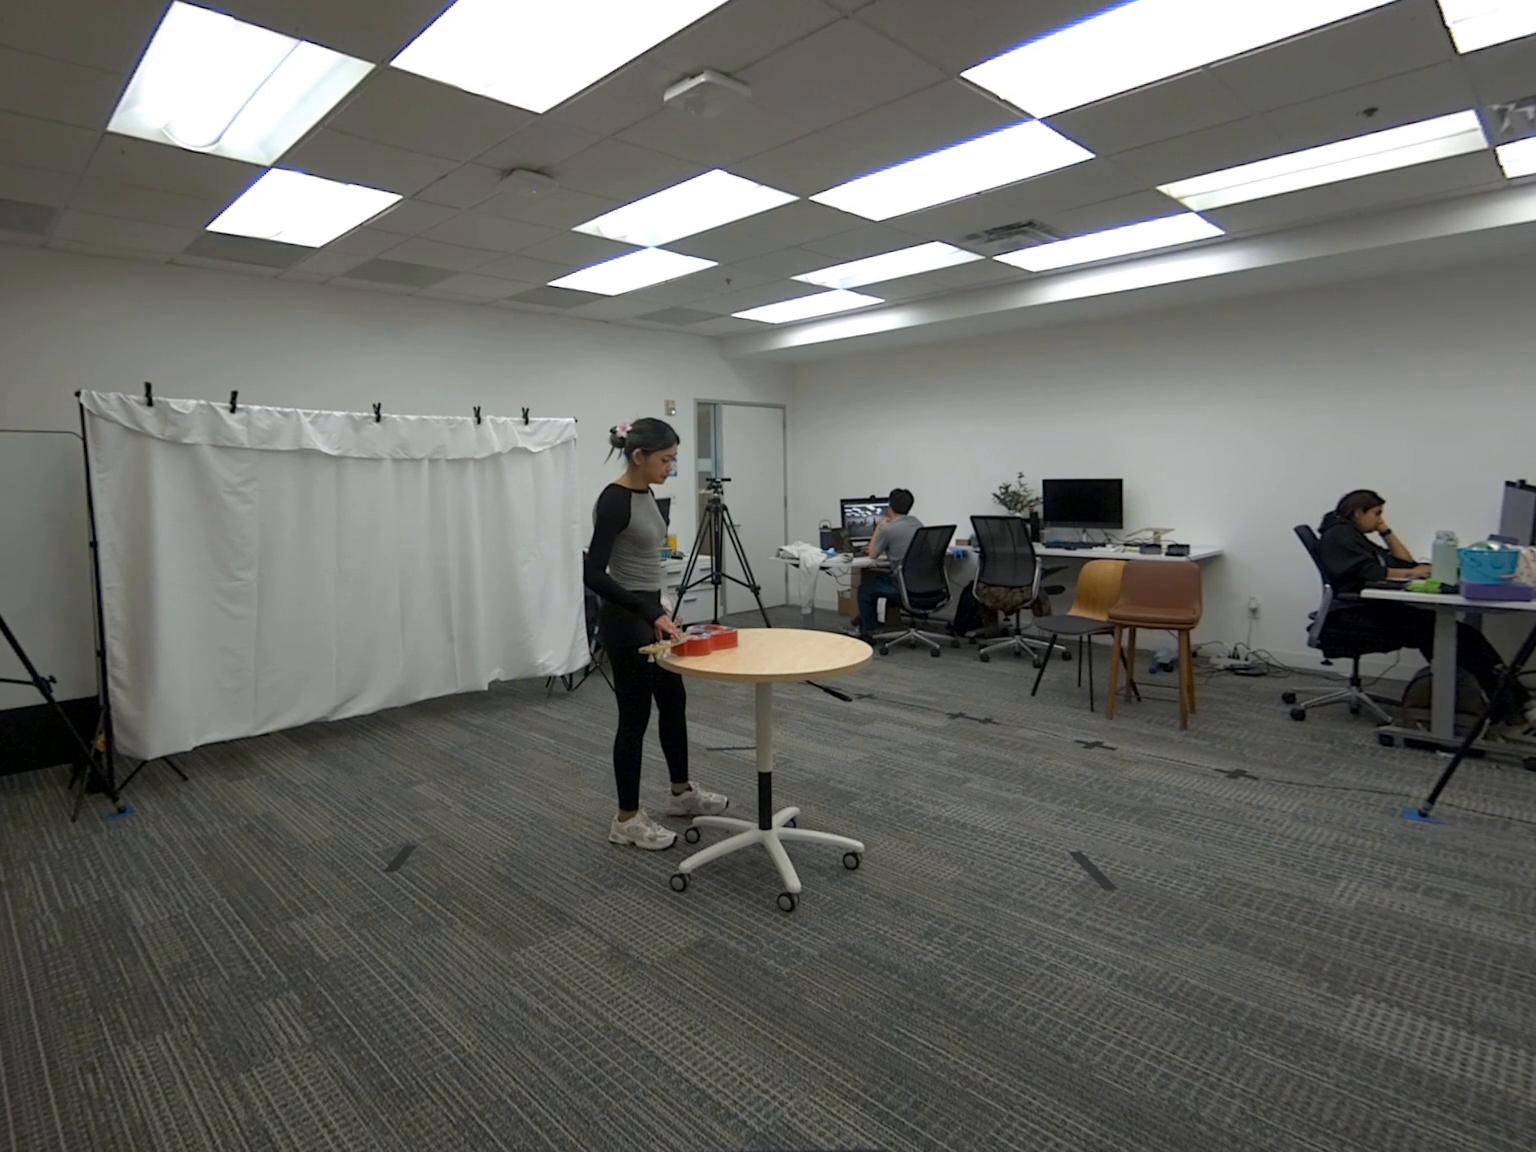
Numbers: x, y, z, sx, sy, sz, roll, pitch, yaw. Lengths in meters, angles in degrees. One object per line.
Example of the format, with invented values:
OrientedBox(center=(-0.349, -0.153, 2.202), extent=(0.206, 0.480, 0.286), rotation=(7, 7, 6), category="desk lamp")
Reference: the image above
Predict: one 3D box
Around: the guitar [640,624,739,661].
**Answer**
OrientedBox(center=(-0.302, 0.237, 2.949), extent=(0.198, 0.070, 0.486), rotation=(3, 8, 34), category="guitar")
